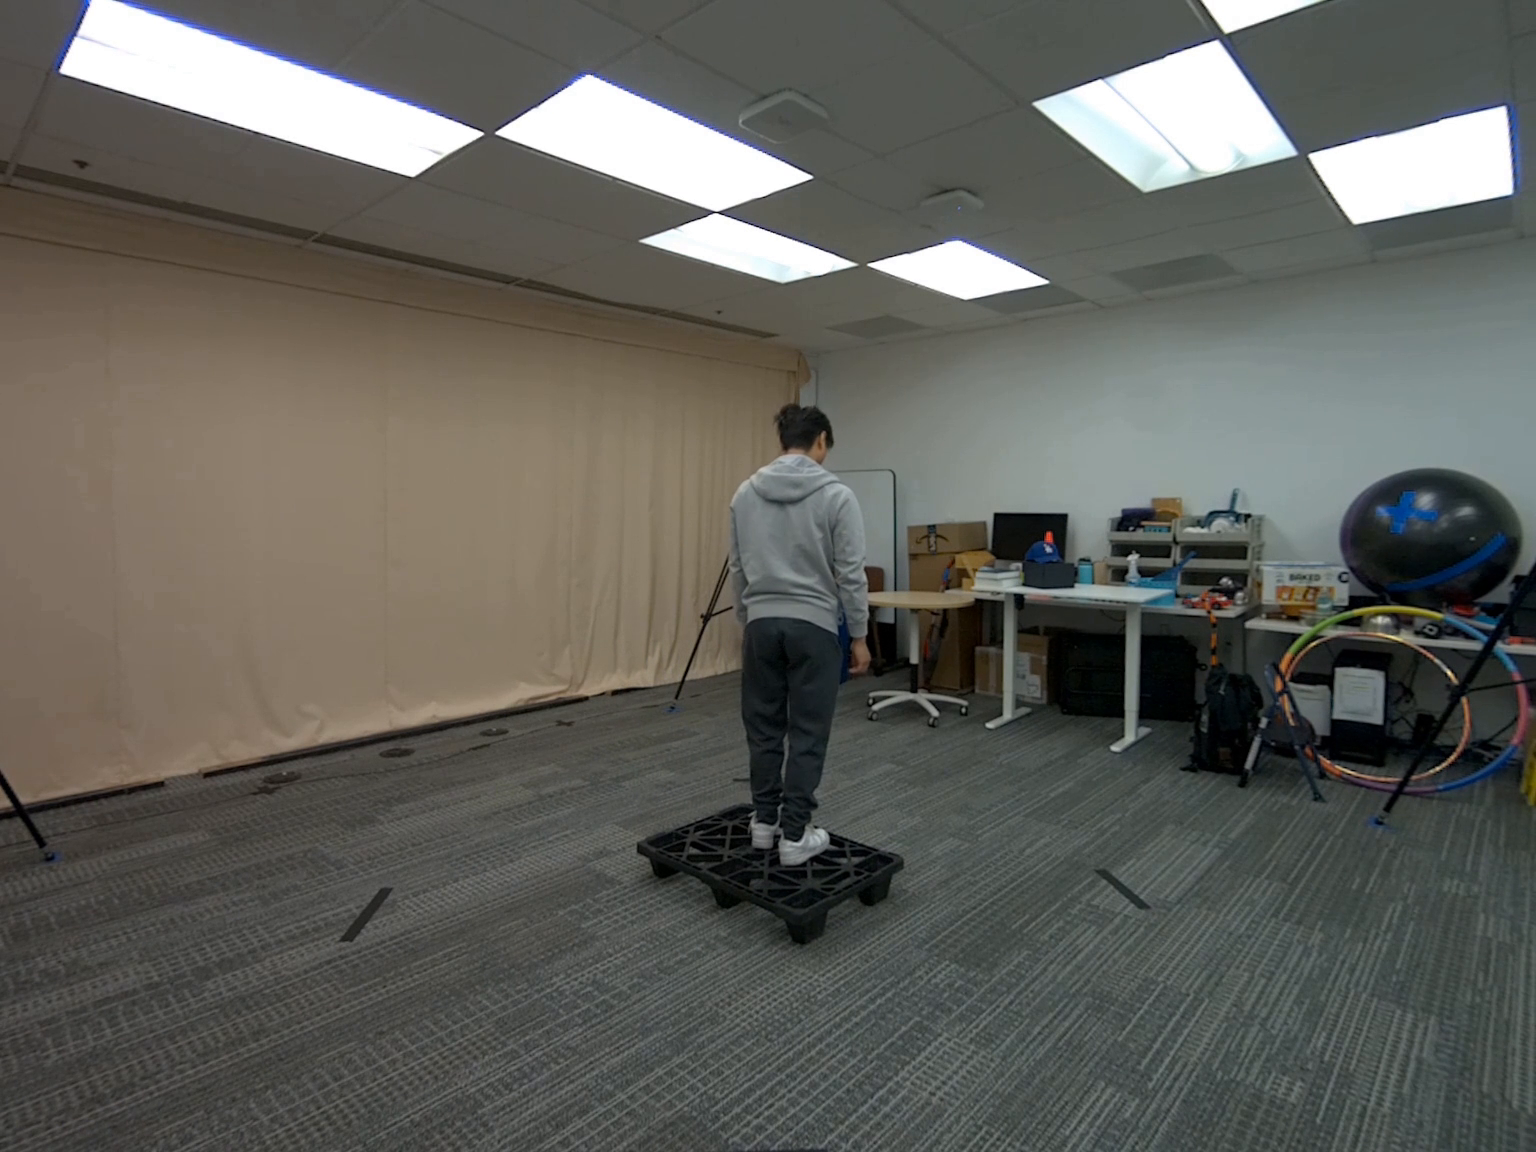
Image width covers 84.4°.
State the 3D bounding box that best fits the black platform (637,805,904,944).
[{"bbox_3d":[-0.001,1.069,3.080,0.832,0.143,0.587,4,7,44],"label":"black platform"}]
